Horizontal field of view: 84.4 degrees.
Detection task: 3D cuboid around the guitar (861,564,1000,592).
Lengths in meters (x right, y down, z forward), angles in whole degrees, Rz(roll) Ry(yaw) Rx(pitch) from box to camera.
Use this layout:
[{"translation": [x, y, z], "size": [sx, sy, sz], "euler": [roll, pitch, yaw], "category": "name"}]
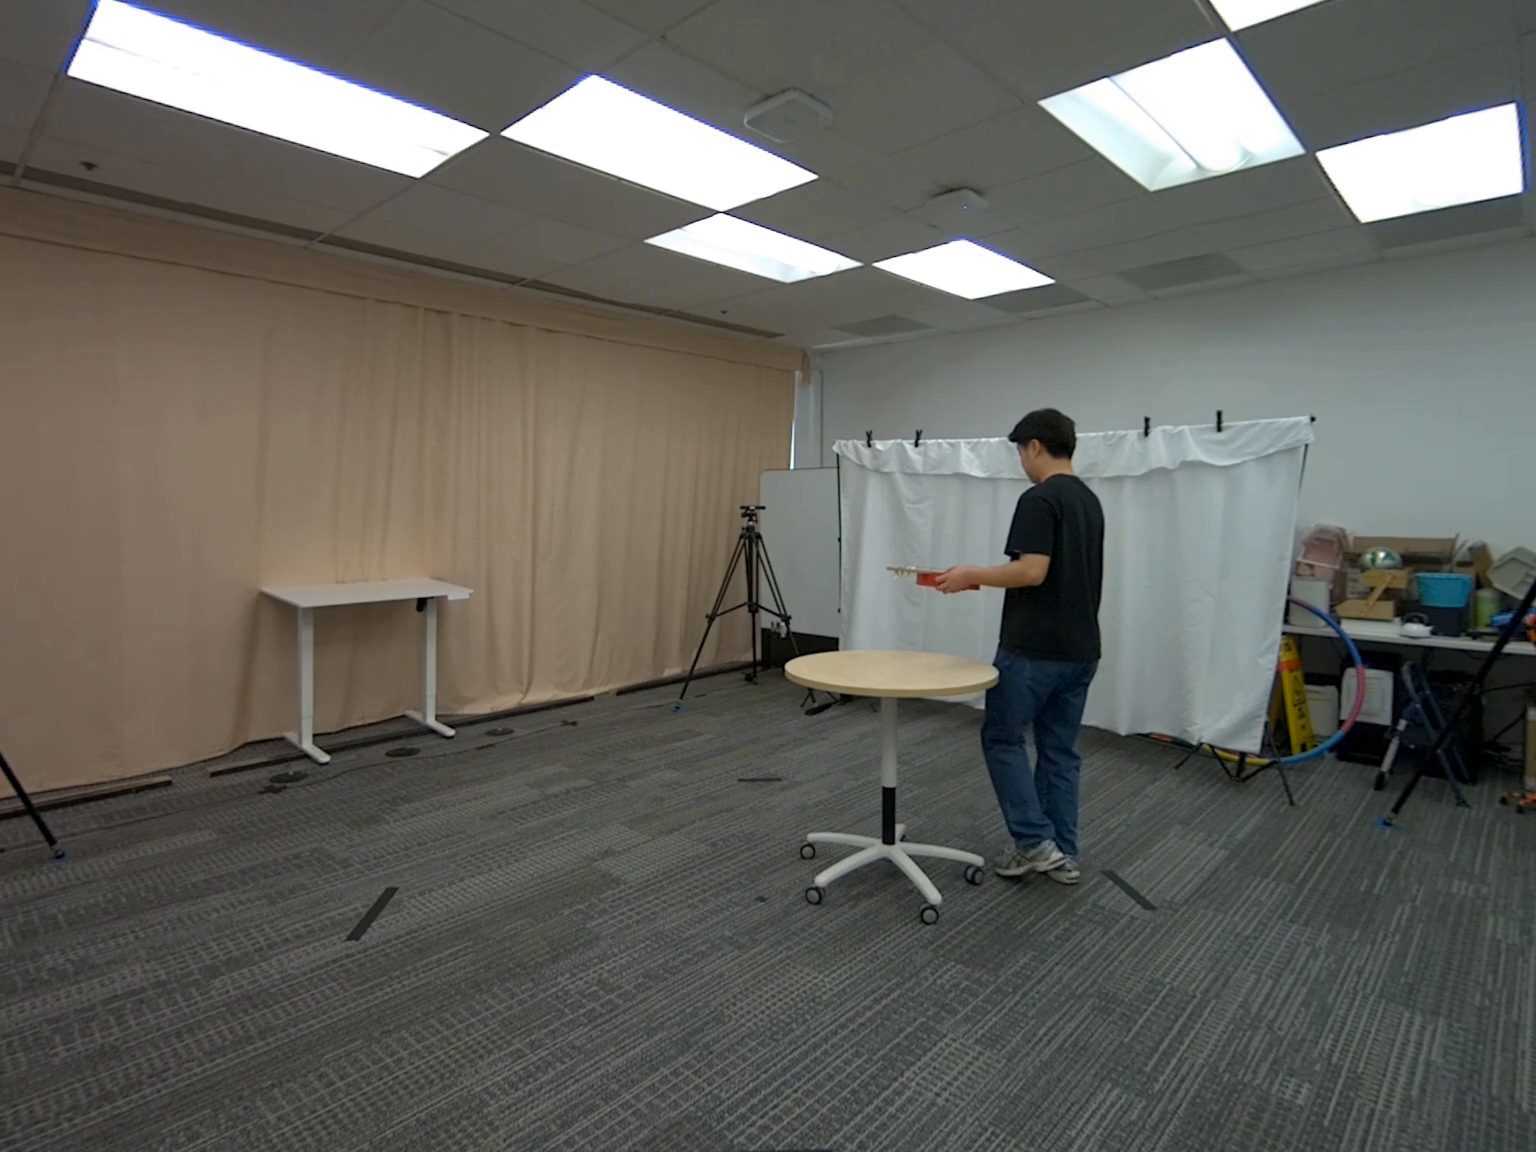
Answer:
[{"translation": [0.628, 0.009, 3.286], "size": [0.487, 0.071, 0.197], "euler": [3, -4, -21], "category": "guitar"}]
